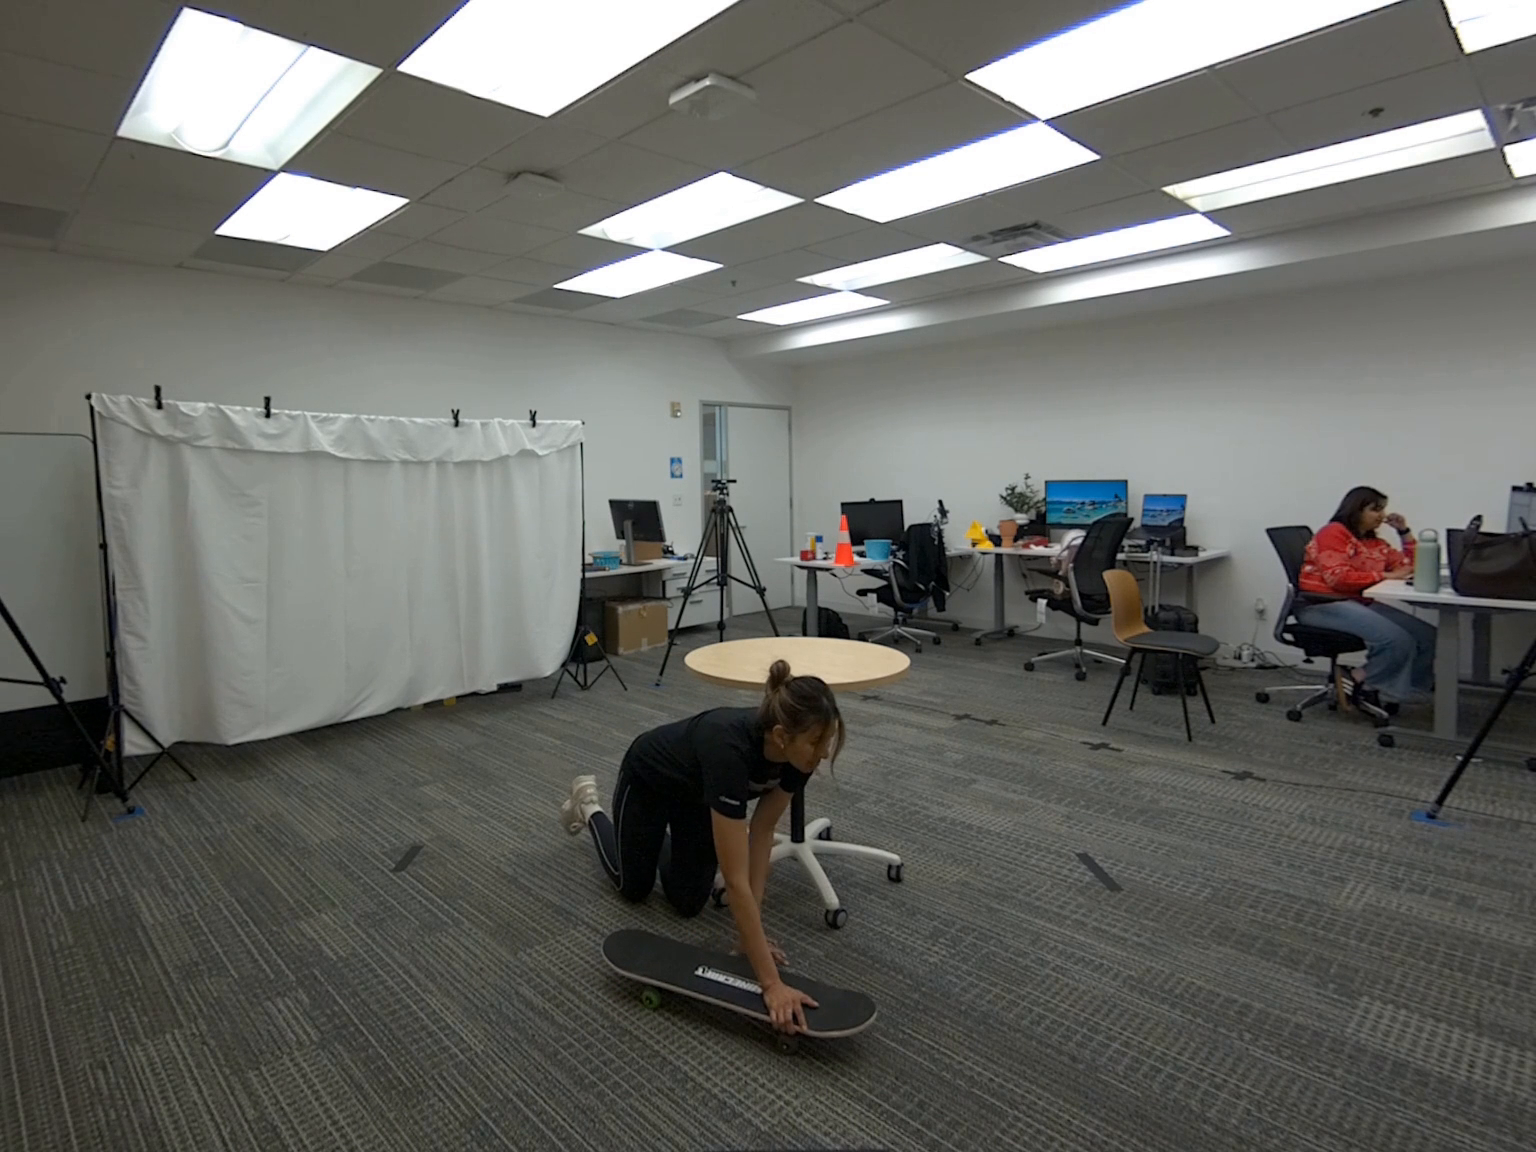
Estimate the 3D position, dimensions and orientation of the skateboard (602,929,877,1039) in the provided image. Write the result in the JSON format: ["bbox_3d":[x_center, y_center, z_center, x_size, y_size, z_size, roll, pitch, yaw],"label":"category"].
[{"bbox_3d":[-0.098,1.095,2.247,0.805,0.110,0.190,2,7,28],"label":"skateboard"}]
